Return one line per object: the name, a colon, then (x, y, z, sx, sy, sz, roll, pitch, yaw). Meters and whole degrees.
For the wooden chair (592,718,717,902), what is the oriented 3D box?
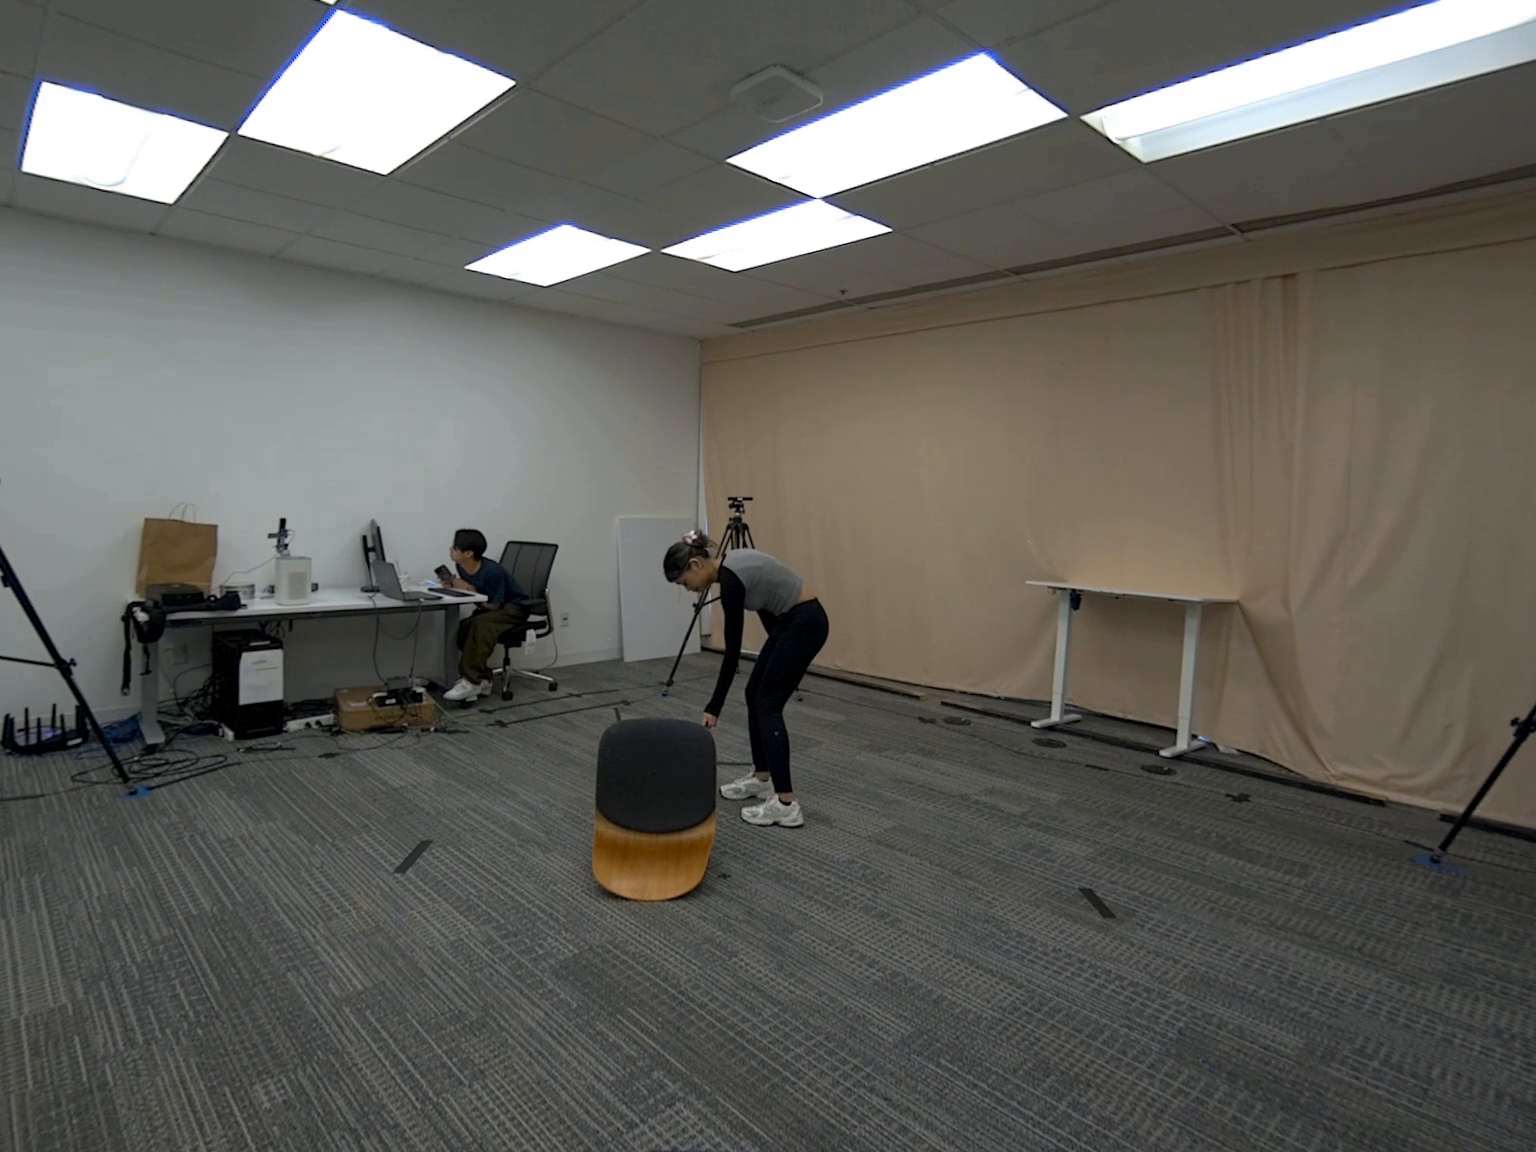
wooden chair: (-0.444, 0.821, 3.309, 0.478, 0.521, 0.881, 1, 5, -2)
